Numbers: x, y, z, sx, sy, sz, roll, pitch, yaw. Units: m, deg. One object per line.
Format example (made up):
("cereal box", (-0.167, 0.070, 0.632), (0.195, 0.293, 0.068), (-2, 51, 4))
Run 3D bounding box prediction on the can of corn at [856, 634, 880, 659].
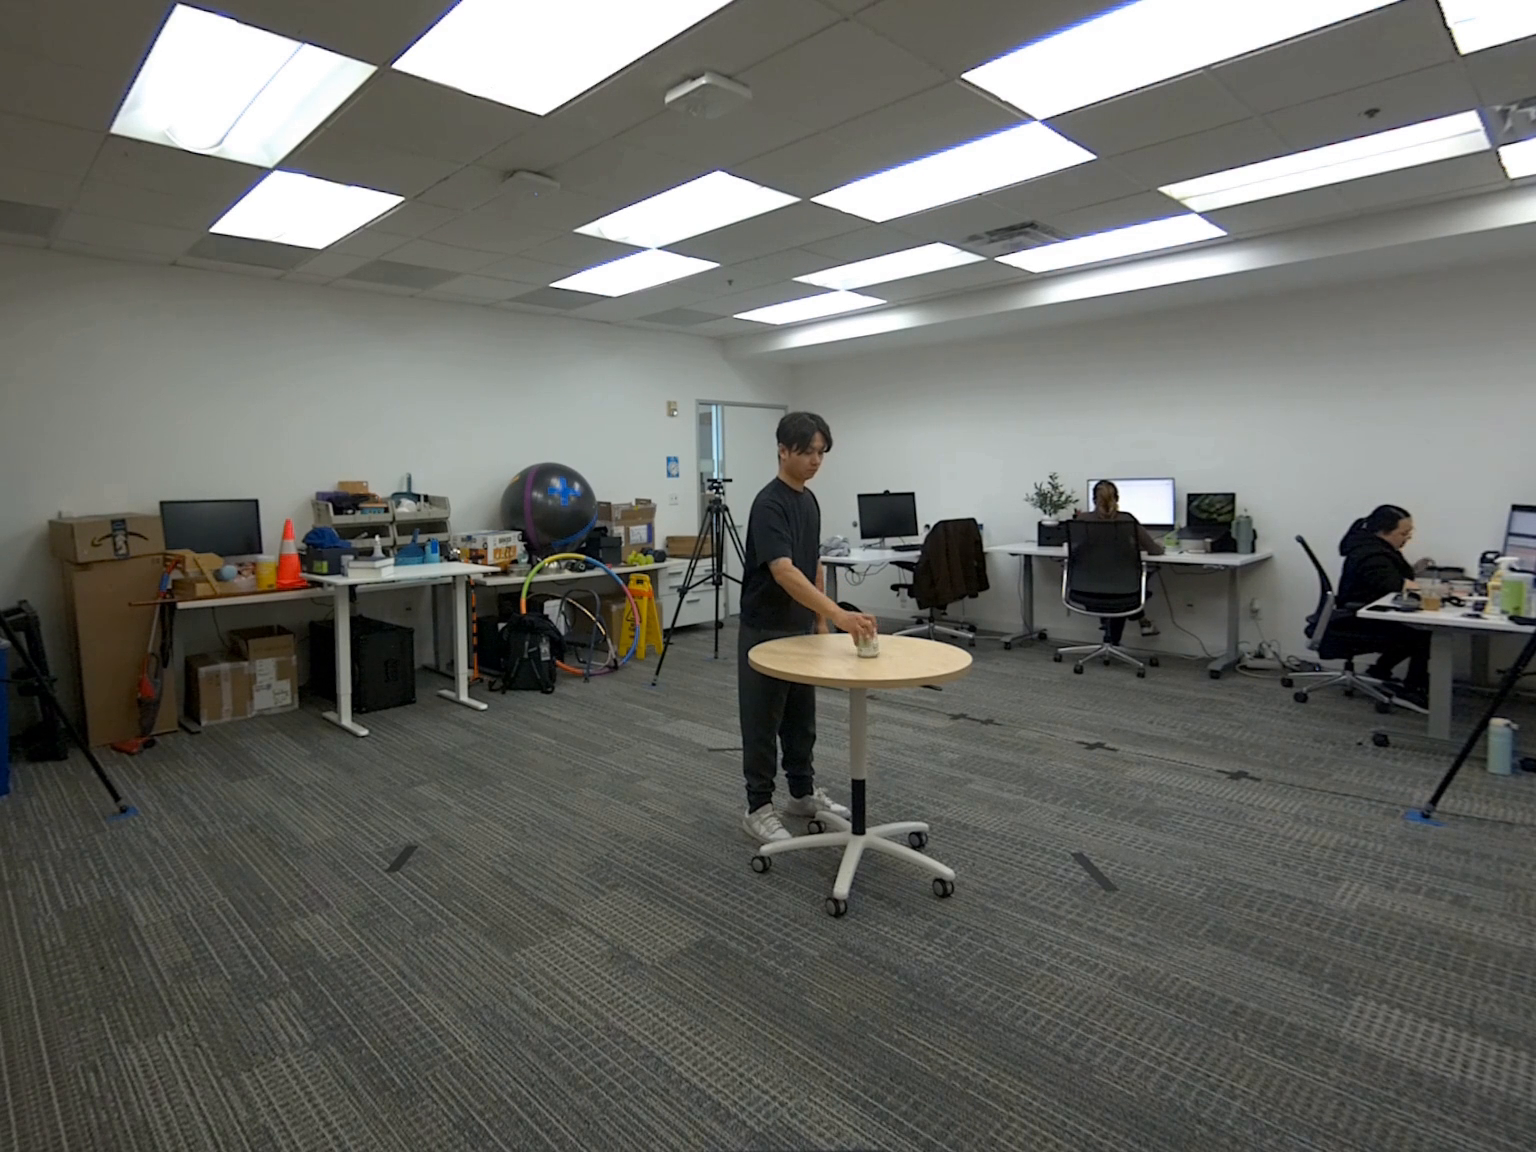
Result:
("can of corn", (0.343, 0.215, 2.934), (0.074, 0.110, 0.075), (-10, 8, 0))
